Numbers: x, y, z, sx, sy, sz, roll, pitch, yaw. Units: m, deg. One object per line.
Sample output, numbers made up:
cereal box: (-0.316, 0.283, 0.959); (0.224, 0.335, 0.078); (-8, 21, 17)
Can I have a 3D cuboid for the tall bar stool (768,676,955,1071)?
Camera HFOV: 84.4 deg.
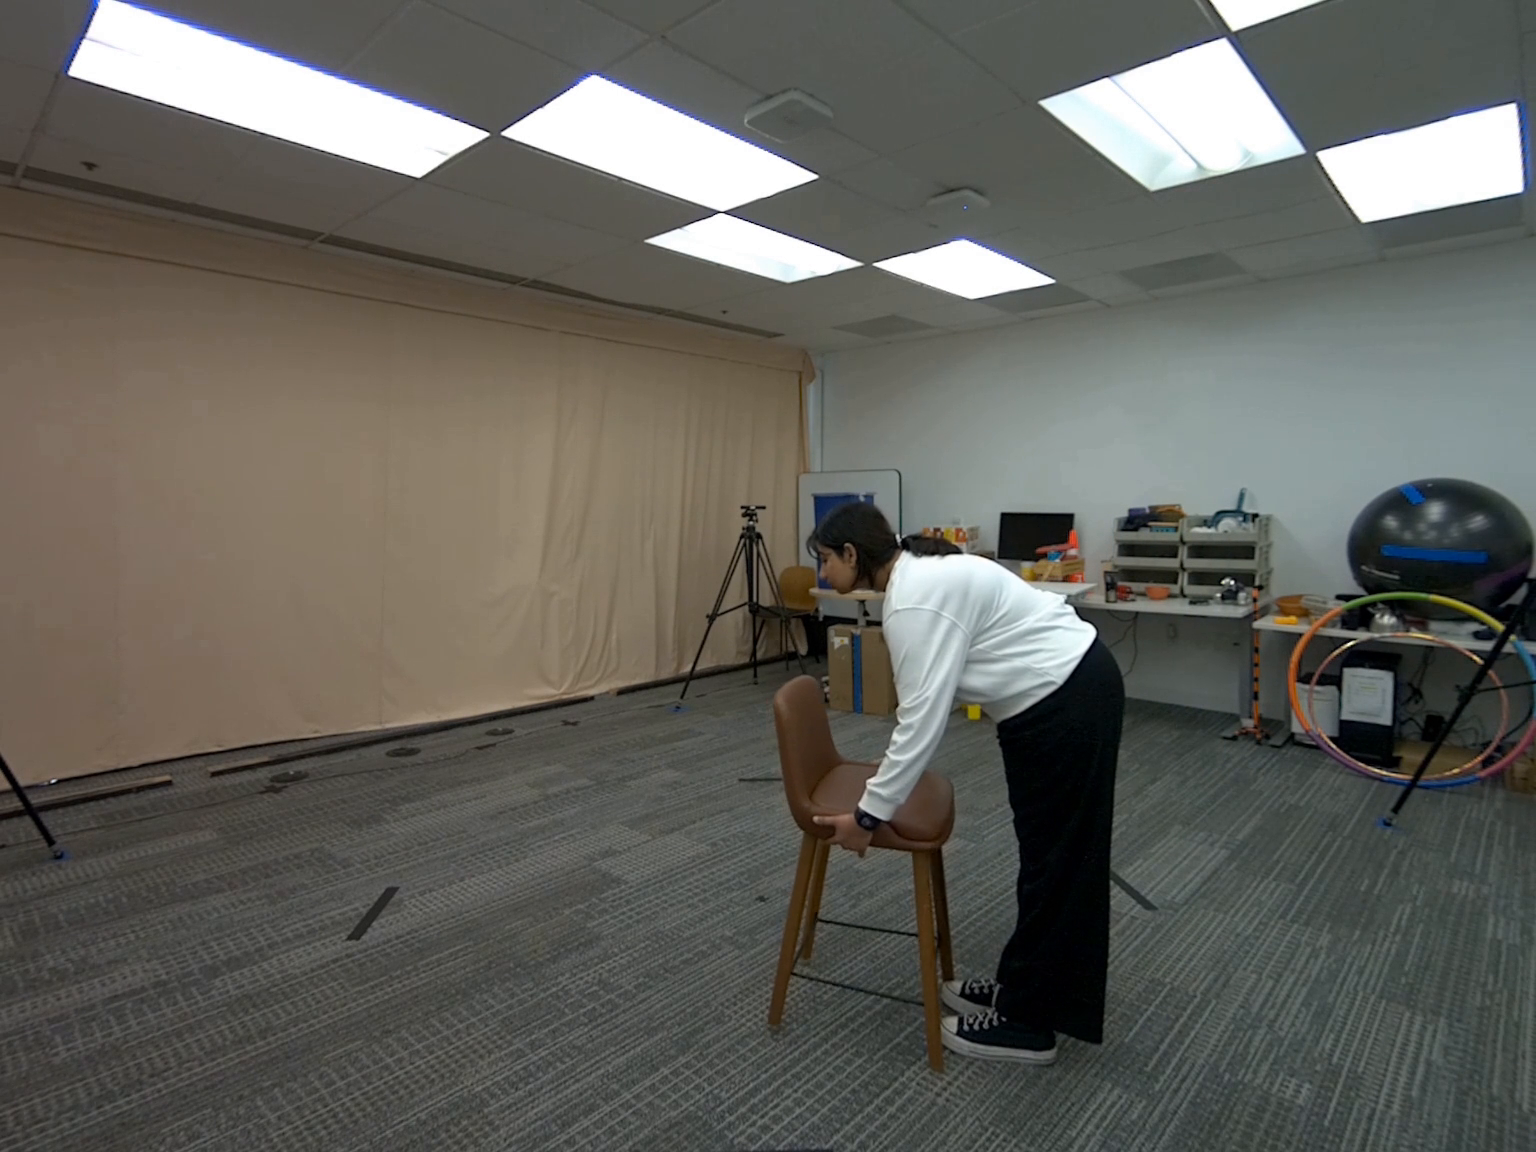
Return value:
tall bar stool: (0.284, 0.753, 2.298); (0.478, 0.888, 0.448); (2, 4, 20)
